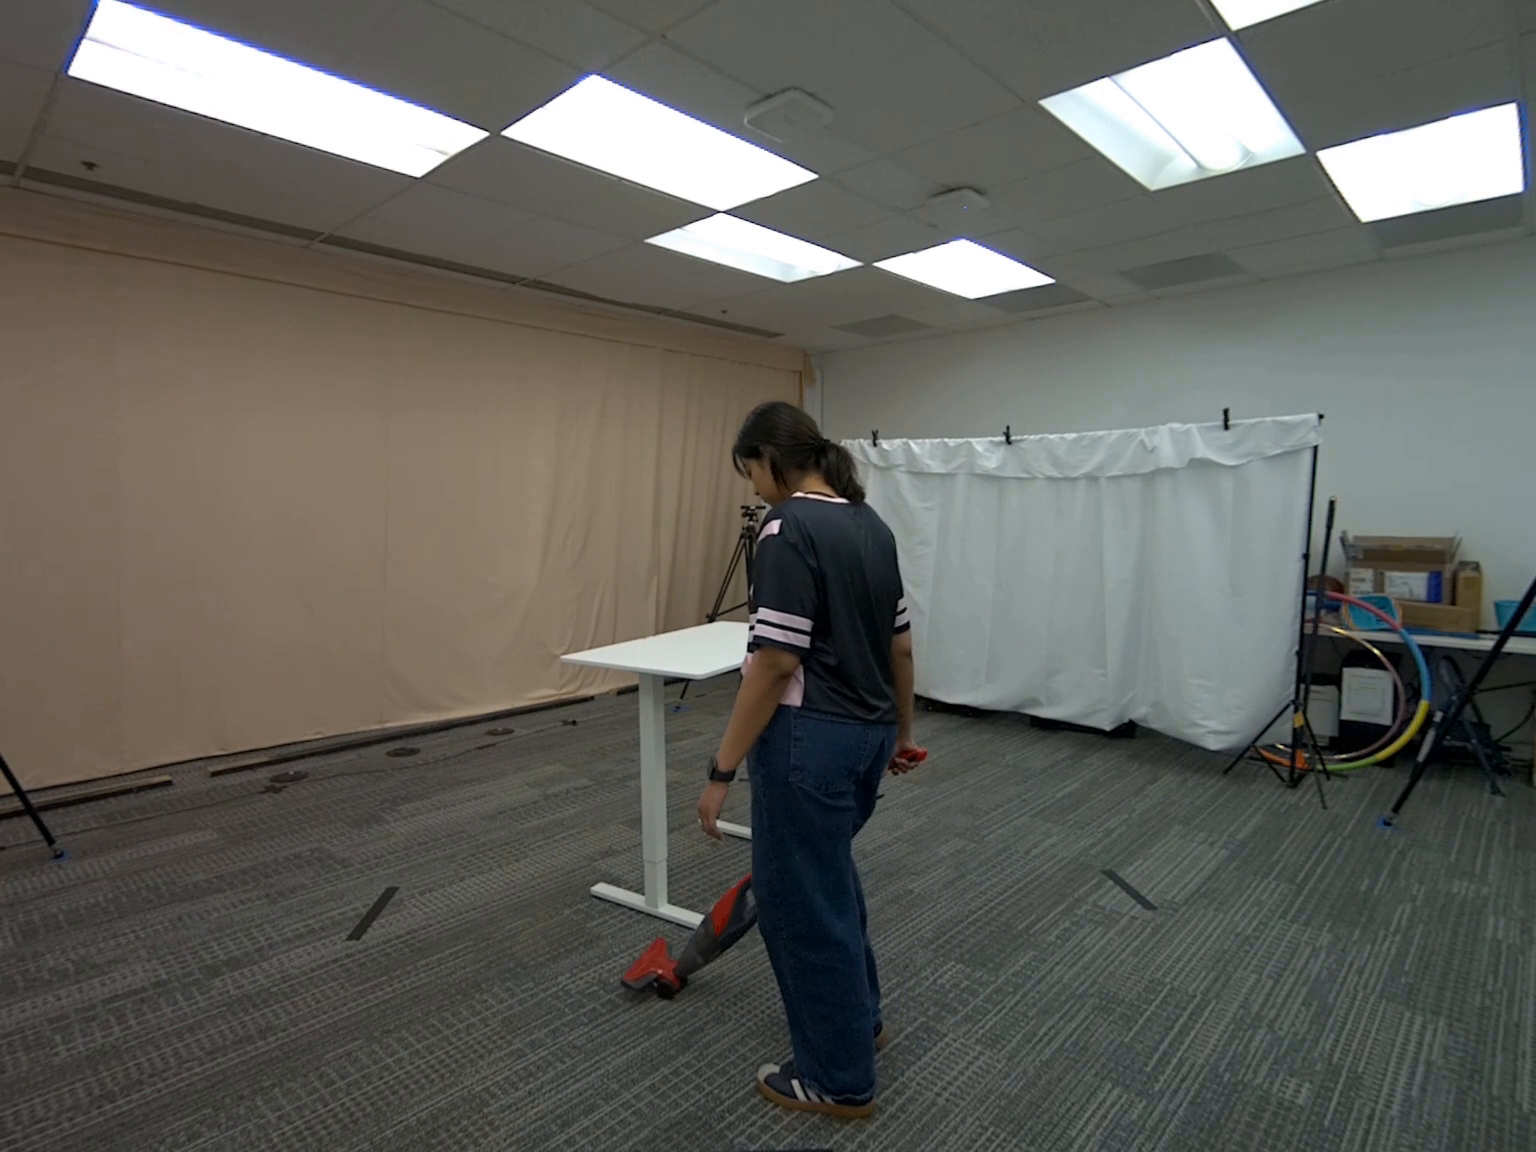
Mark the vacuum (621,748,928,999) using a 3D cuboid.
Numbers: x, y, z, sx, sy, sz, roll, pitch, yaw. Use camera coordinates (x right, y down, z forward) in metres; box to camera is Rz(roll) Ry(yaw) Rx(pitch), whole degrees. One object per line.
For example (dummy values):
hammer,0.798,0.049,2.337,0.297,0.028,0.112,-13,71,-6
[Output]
vacuum,0.030,0.823,2.291,1.056,0.146,0.248,-43,-9,19
